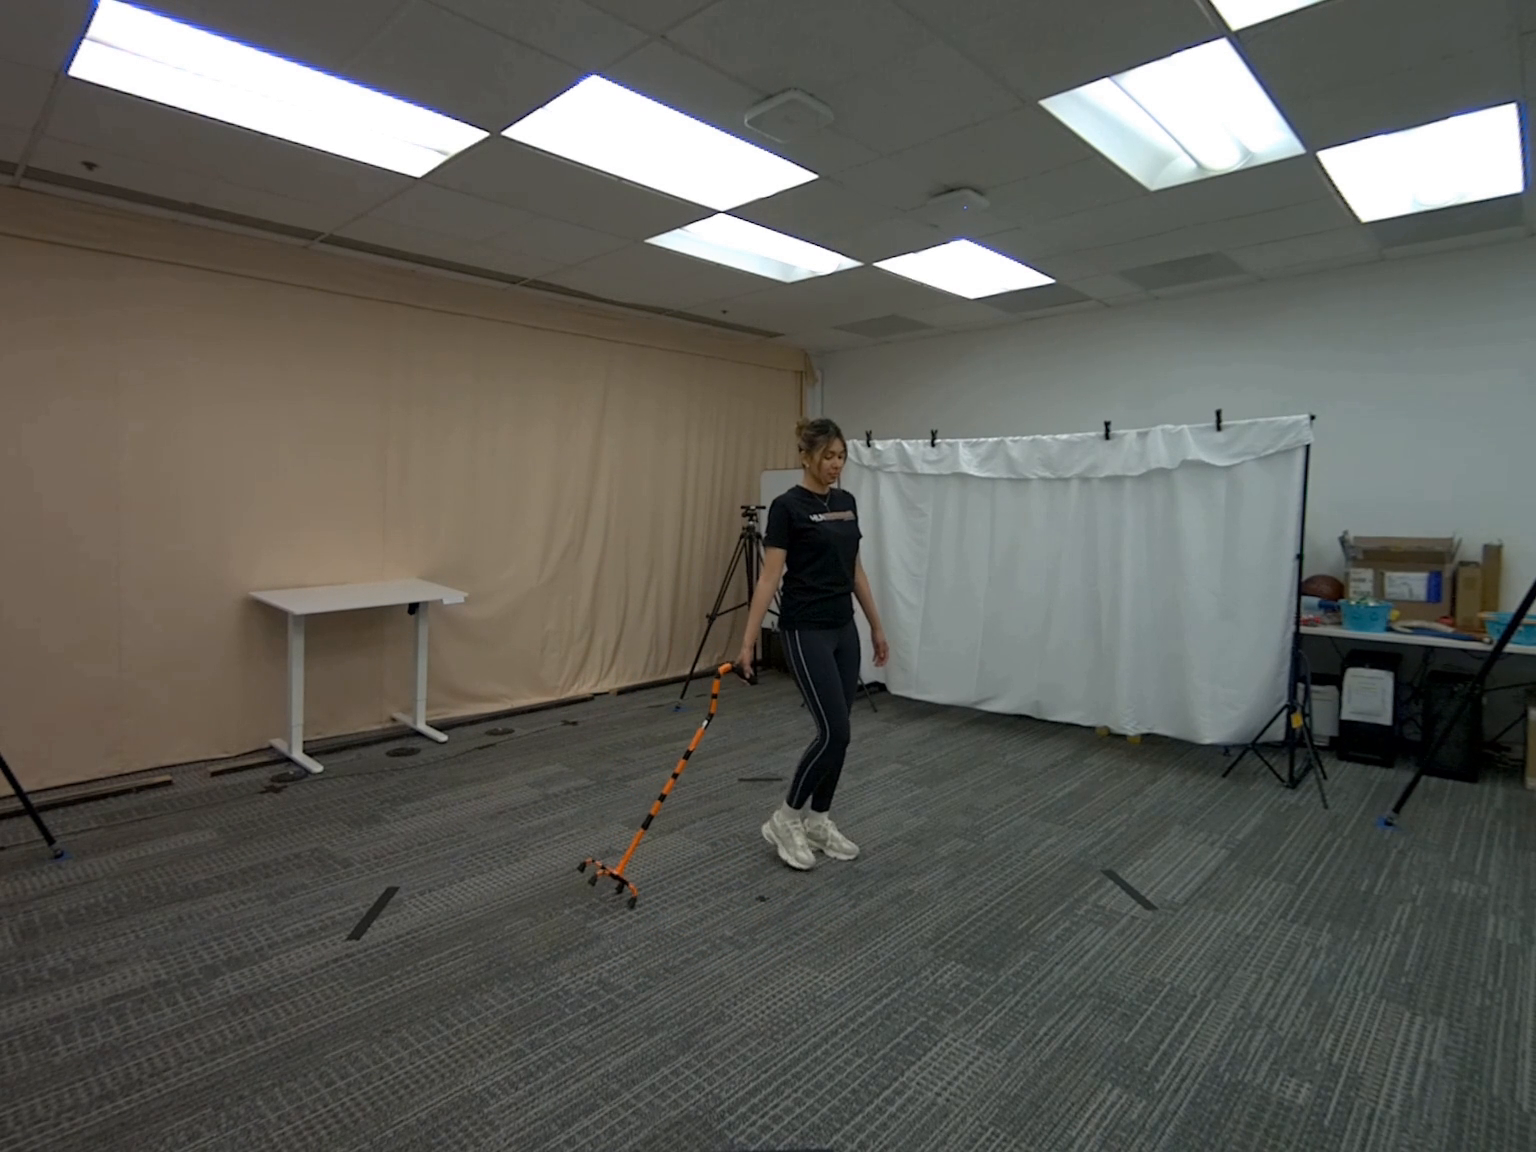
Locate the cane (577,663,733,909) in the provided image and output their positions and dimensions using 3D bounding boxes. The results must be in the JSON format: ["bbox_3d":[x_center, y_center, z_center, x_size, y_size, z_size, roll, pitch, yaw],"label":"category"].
[{"bbox_3d":[-0.346,0.716,3.041,0.201,0.907,0.156,37,-14,-26],"label":"cane"}]
